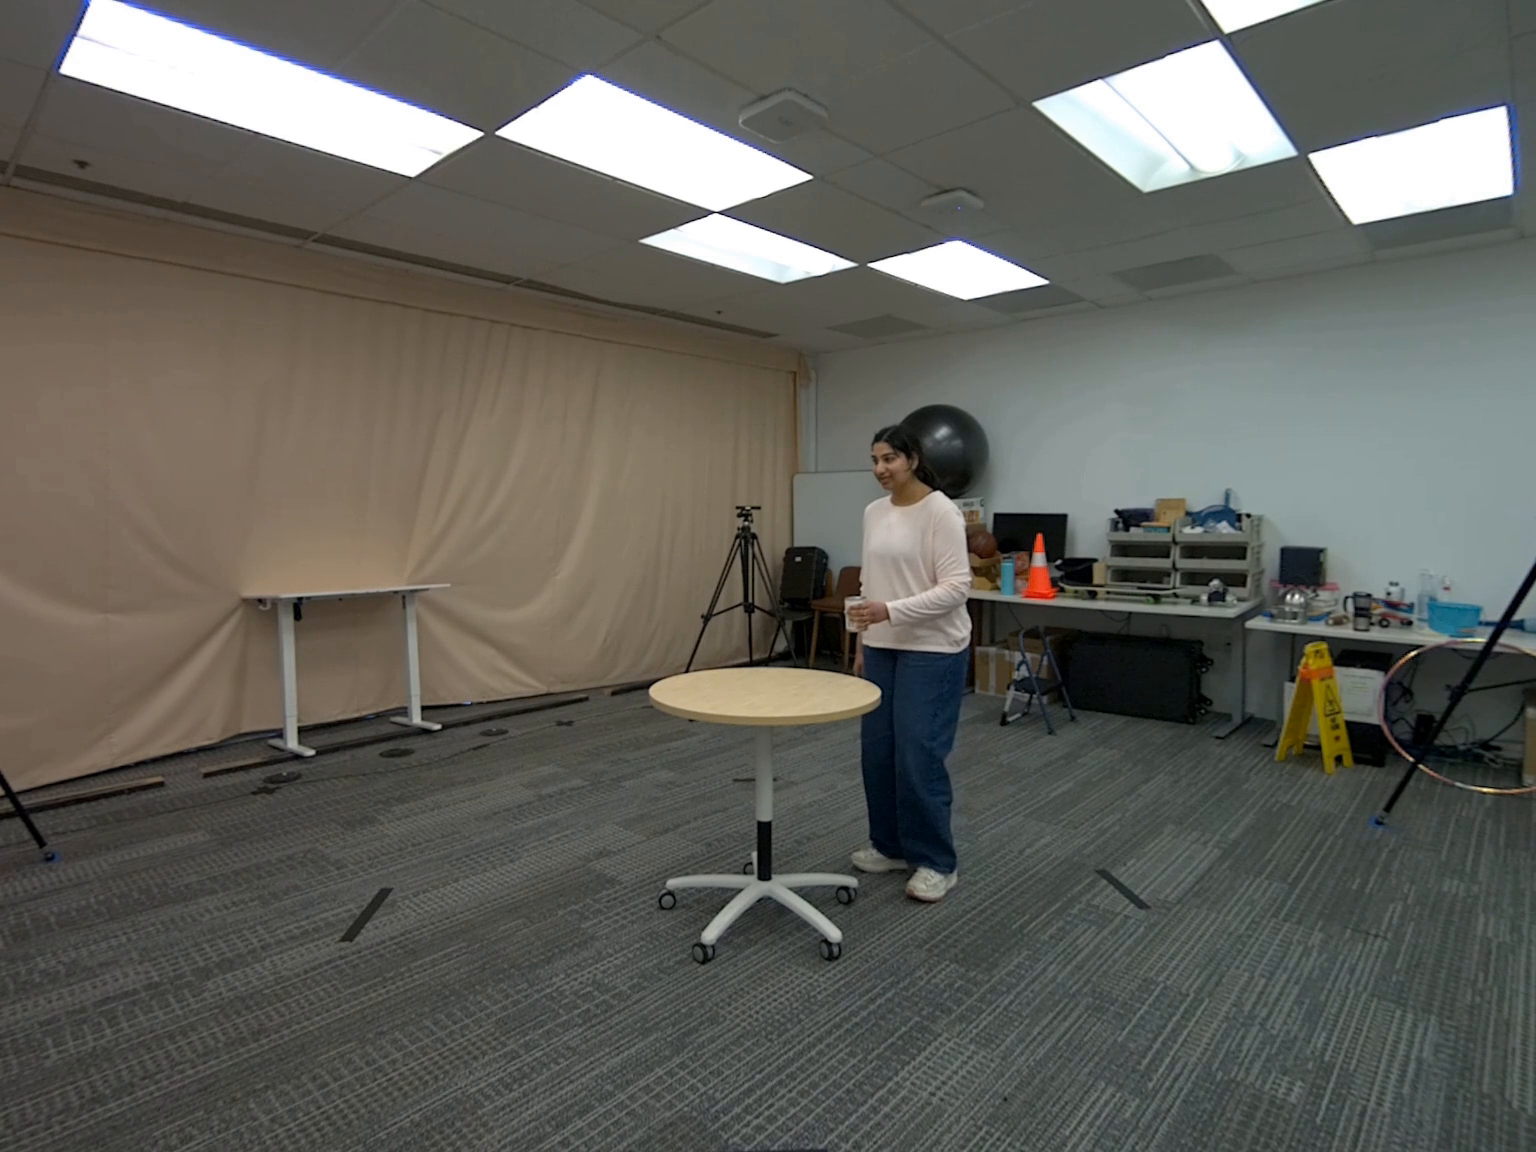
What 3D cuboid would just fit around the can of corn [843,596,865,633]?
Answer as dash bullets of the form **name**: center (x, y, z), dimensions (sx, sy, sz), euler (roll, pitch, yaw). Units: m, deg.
- **can of corn**: center (0.309, 0.130, 2.908), dimensions (0.074, 0.111, 0.074), euler (-4, 4, -2)
